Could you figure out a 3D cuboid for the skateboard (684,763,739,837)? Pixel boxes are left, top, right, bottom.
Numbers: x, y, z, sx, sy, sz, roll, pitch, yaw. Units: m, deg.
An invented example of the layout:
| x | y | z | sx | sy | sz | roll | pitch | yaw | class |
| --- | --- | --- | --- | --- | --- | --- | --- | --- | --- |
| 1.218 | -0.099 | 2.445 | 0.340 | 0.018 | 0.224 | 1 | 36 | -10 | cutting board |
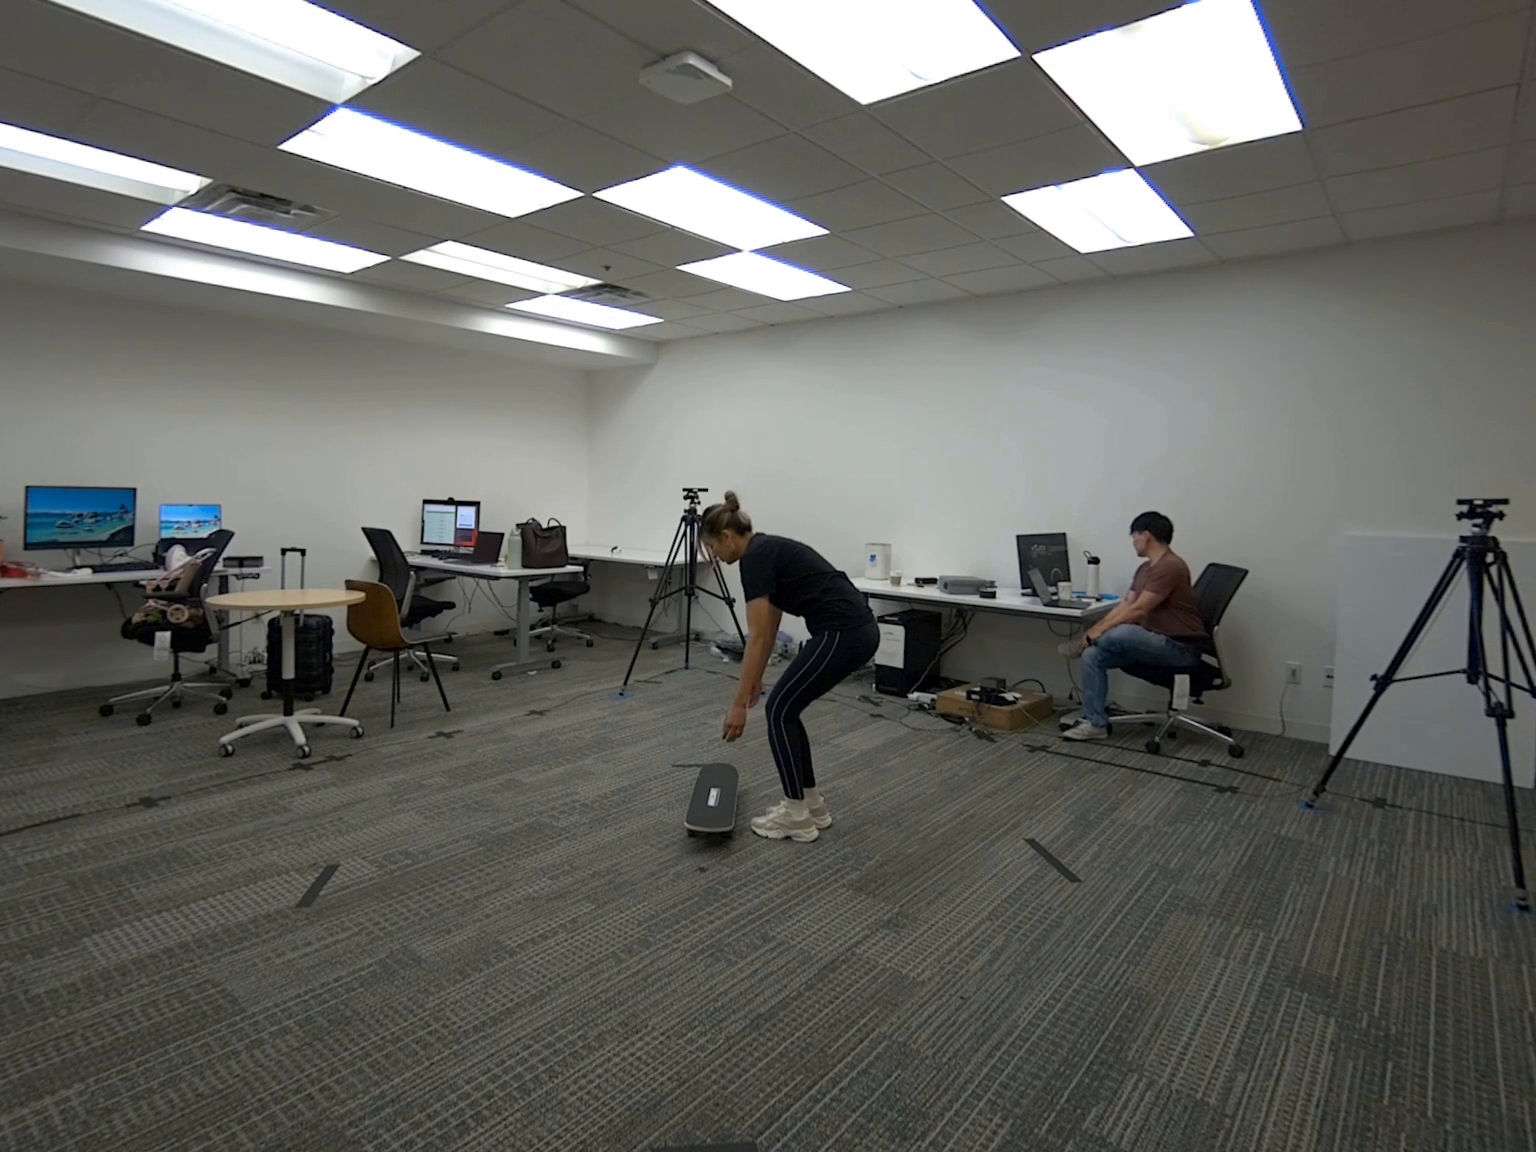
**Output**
| x | y | z | sx | sy | sz | roll | pitch | yaw | class |
| --- | --- | --- | --- | --- | --- | --- | --- | --- | --- |
| -0.243 | 0.963 | 3.614 | 0.194 | 0.110 | 0.787 | 1 | 6 | 0 | skateboard |
